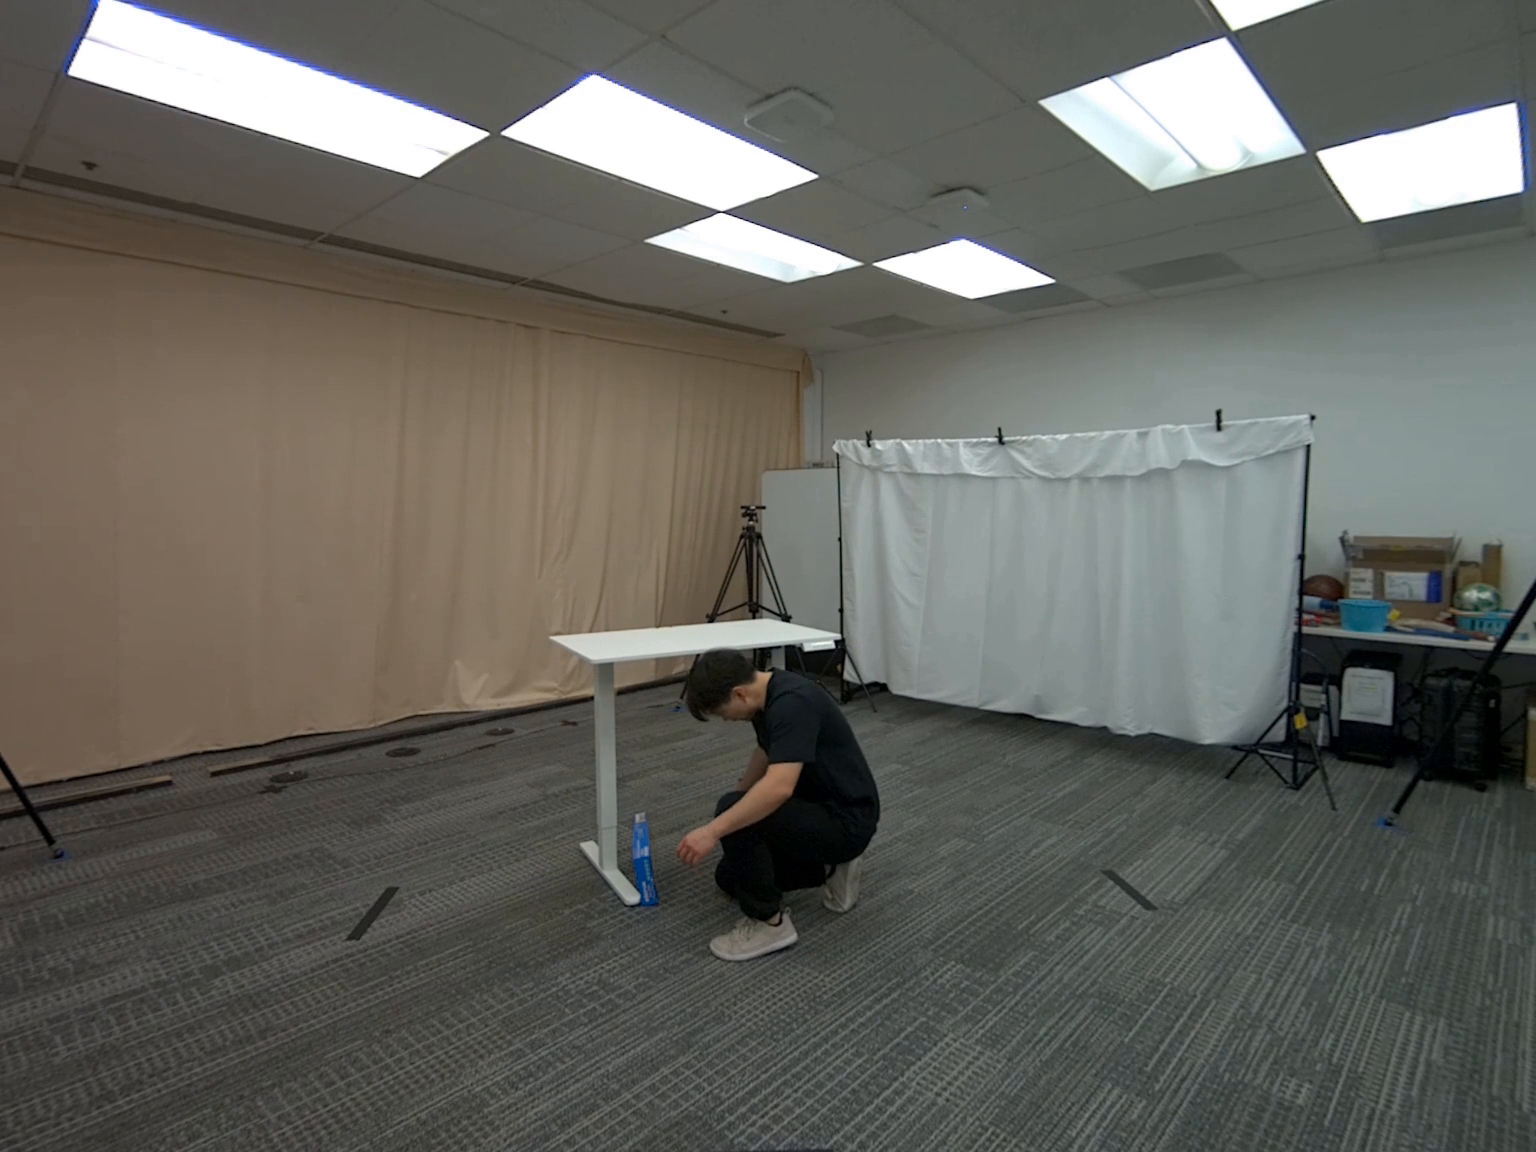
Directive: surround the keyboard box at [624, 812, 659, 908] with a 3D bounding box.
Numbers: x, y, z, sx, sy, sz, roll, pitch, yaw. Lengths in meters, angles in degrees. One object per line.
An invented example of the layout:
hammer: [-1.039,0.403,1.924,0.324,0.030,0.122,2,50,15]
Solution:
keyboard box: [-0.461,1.047,3.142,0.059,0.175,0.441,-8,6,-8]
